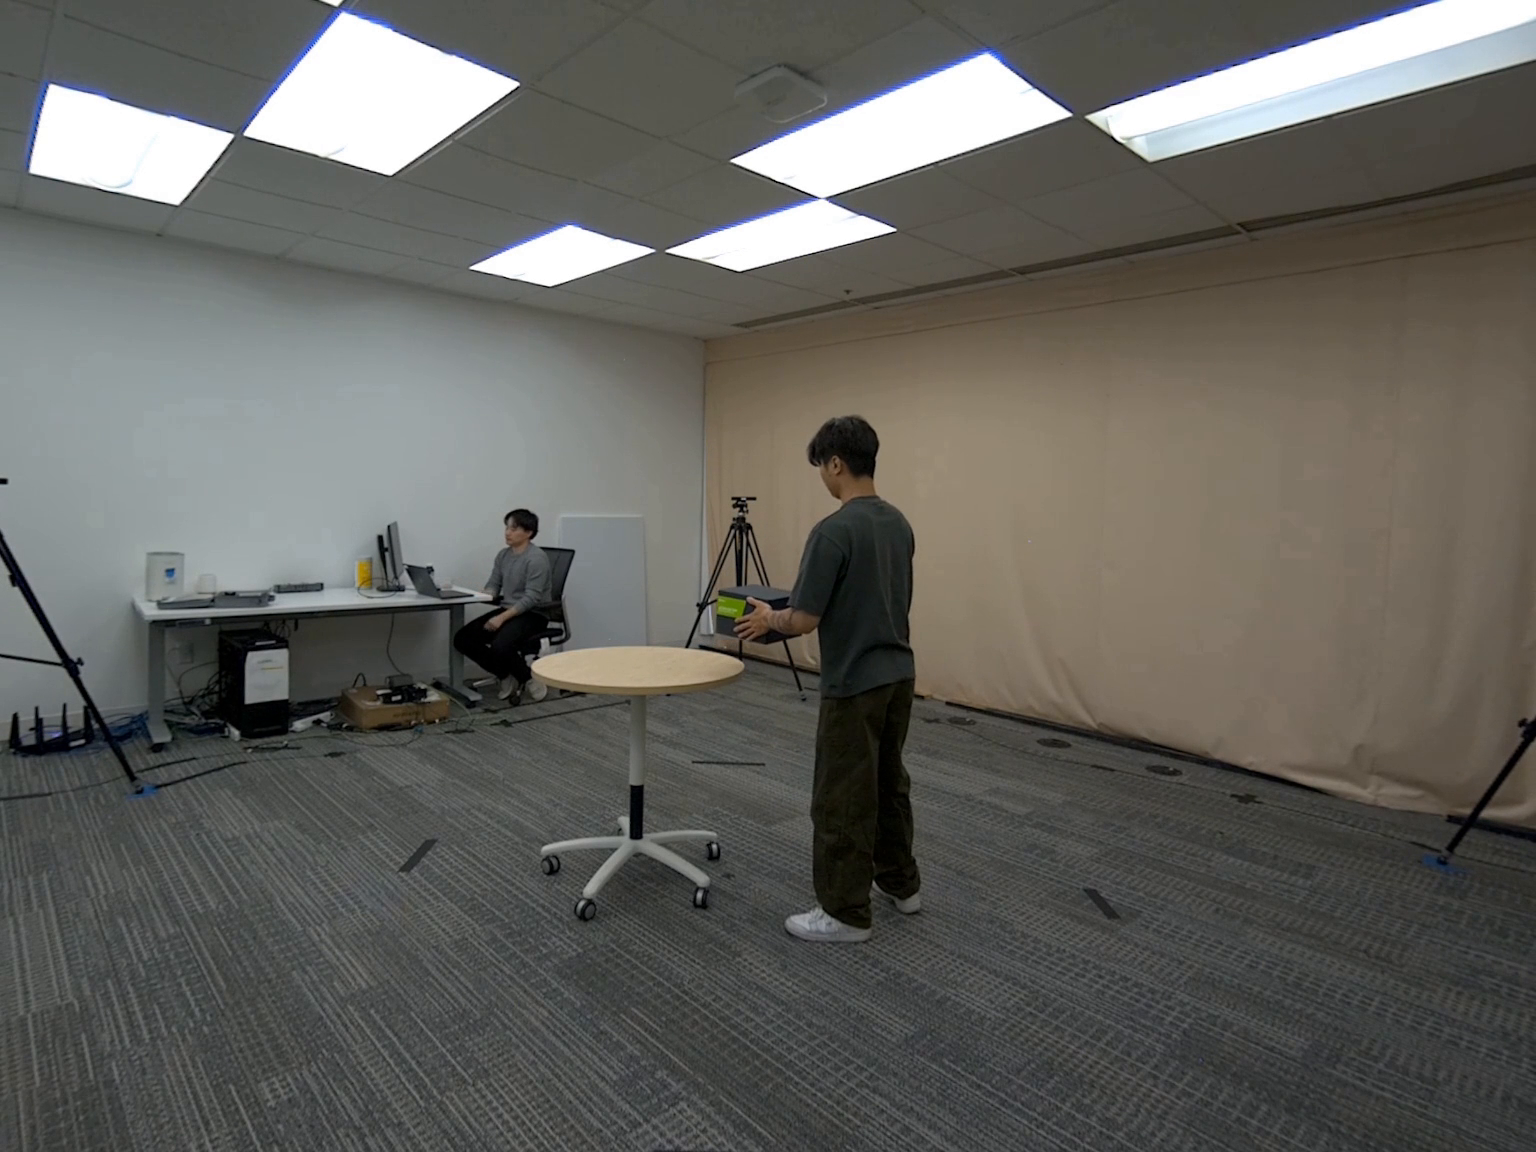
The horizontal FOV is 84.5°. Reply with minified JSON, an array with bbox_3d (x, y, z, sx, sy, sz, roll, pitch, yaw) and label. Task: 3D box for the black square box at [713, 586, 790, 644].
[{"bbox_3d":[-0.038,0.126,2.975,0.234,0.155,0.213,9,10,34],"label":"black square box"}]
